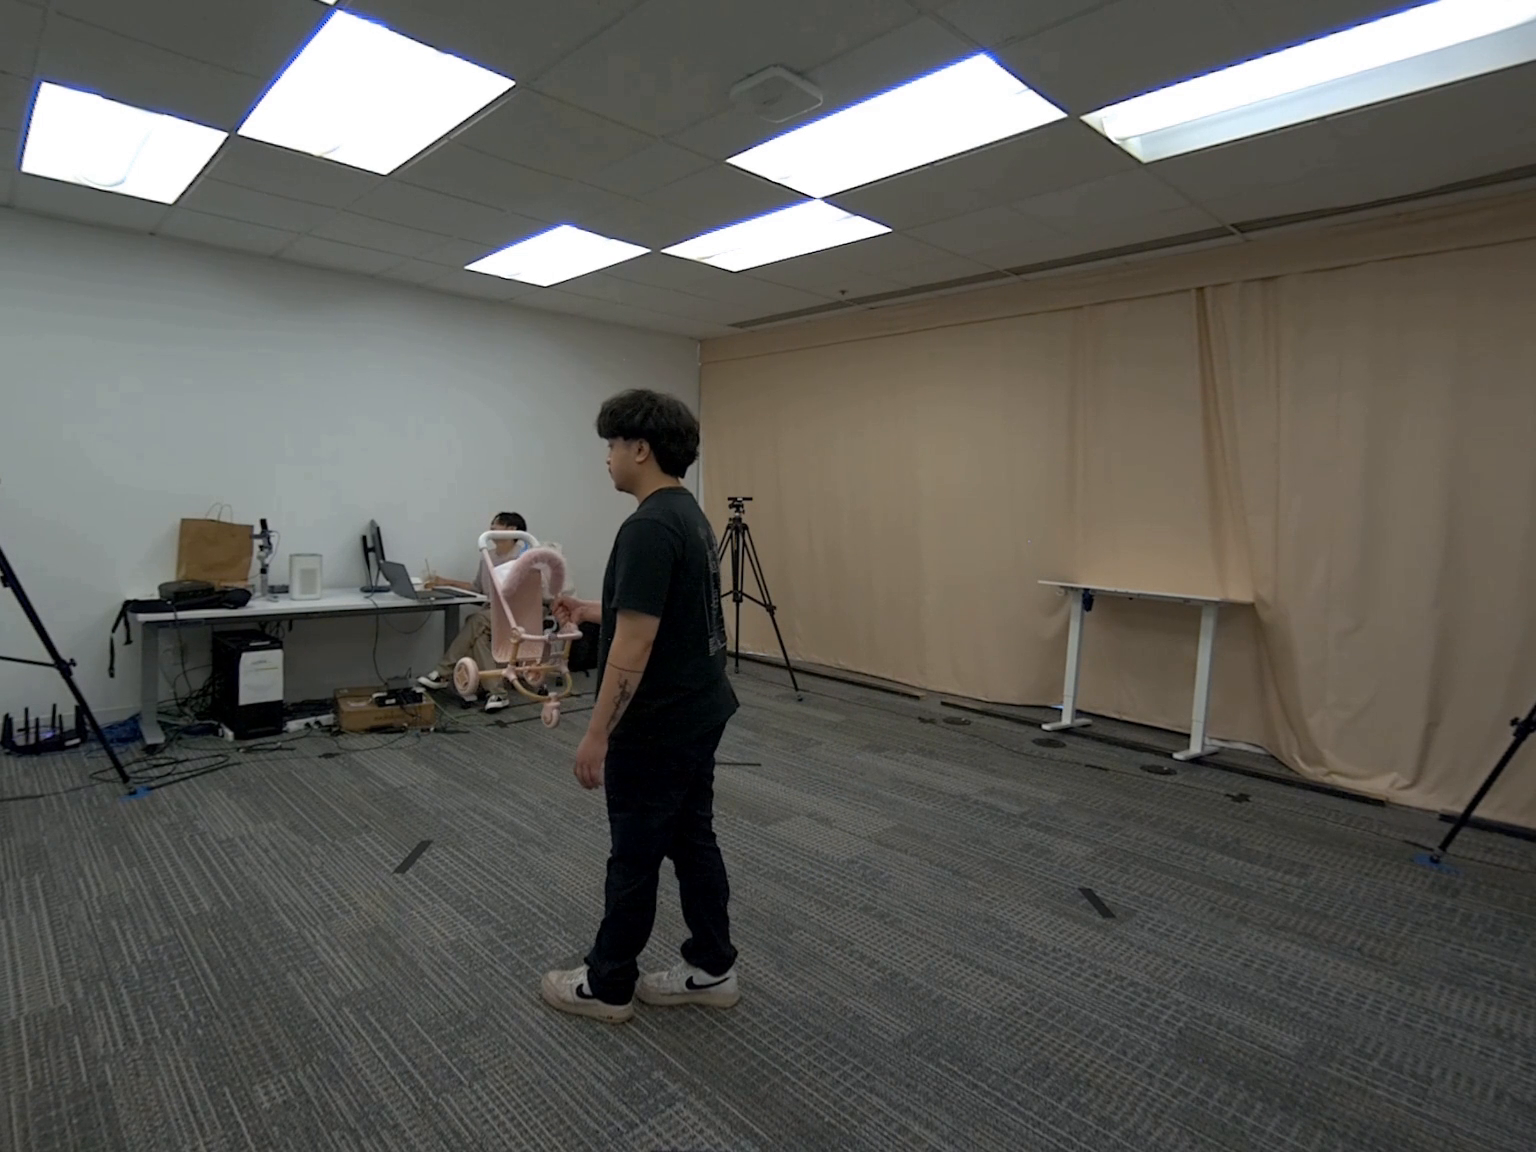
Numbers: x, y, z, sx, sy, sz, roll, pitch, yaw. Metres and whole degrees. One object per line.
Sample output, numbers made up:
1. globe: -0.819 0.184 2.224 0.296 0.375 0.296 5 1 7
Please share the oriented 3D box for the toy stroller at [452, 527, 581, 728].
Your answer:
1. toy stroller: -0.698 0.149 2.442 0.350 0.534 0.274 6 2 43
